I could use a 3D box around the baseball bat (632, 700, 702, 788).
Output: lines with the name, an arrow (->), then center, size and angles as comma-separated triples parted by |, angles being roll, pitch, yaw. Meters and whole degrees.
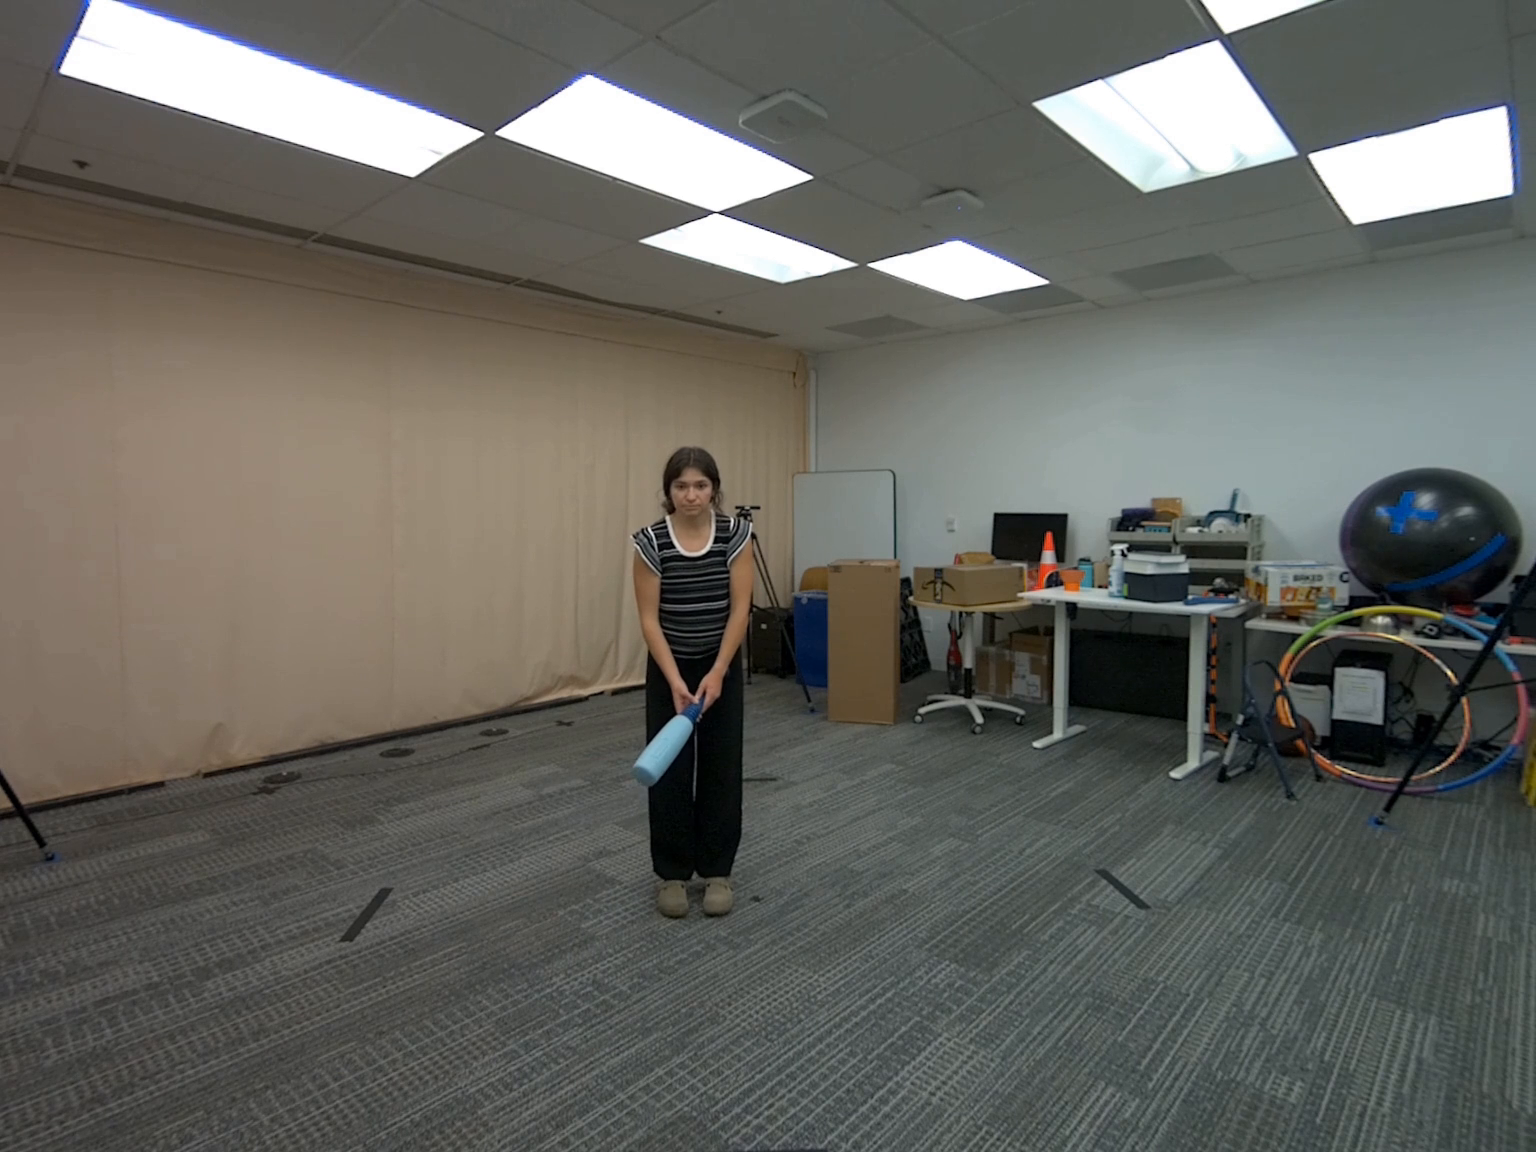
baseball bat -> -0.250, 0.431, 2.657 | 0.091, 0.087, 0.538 | 2, 30, 29
